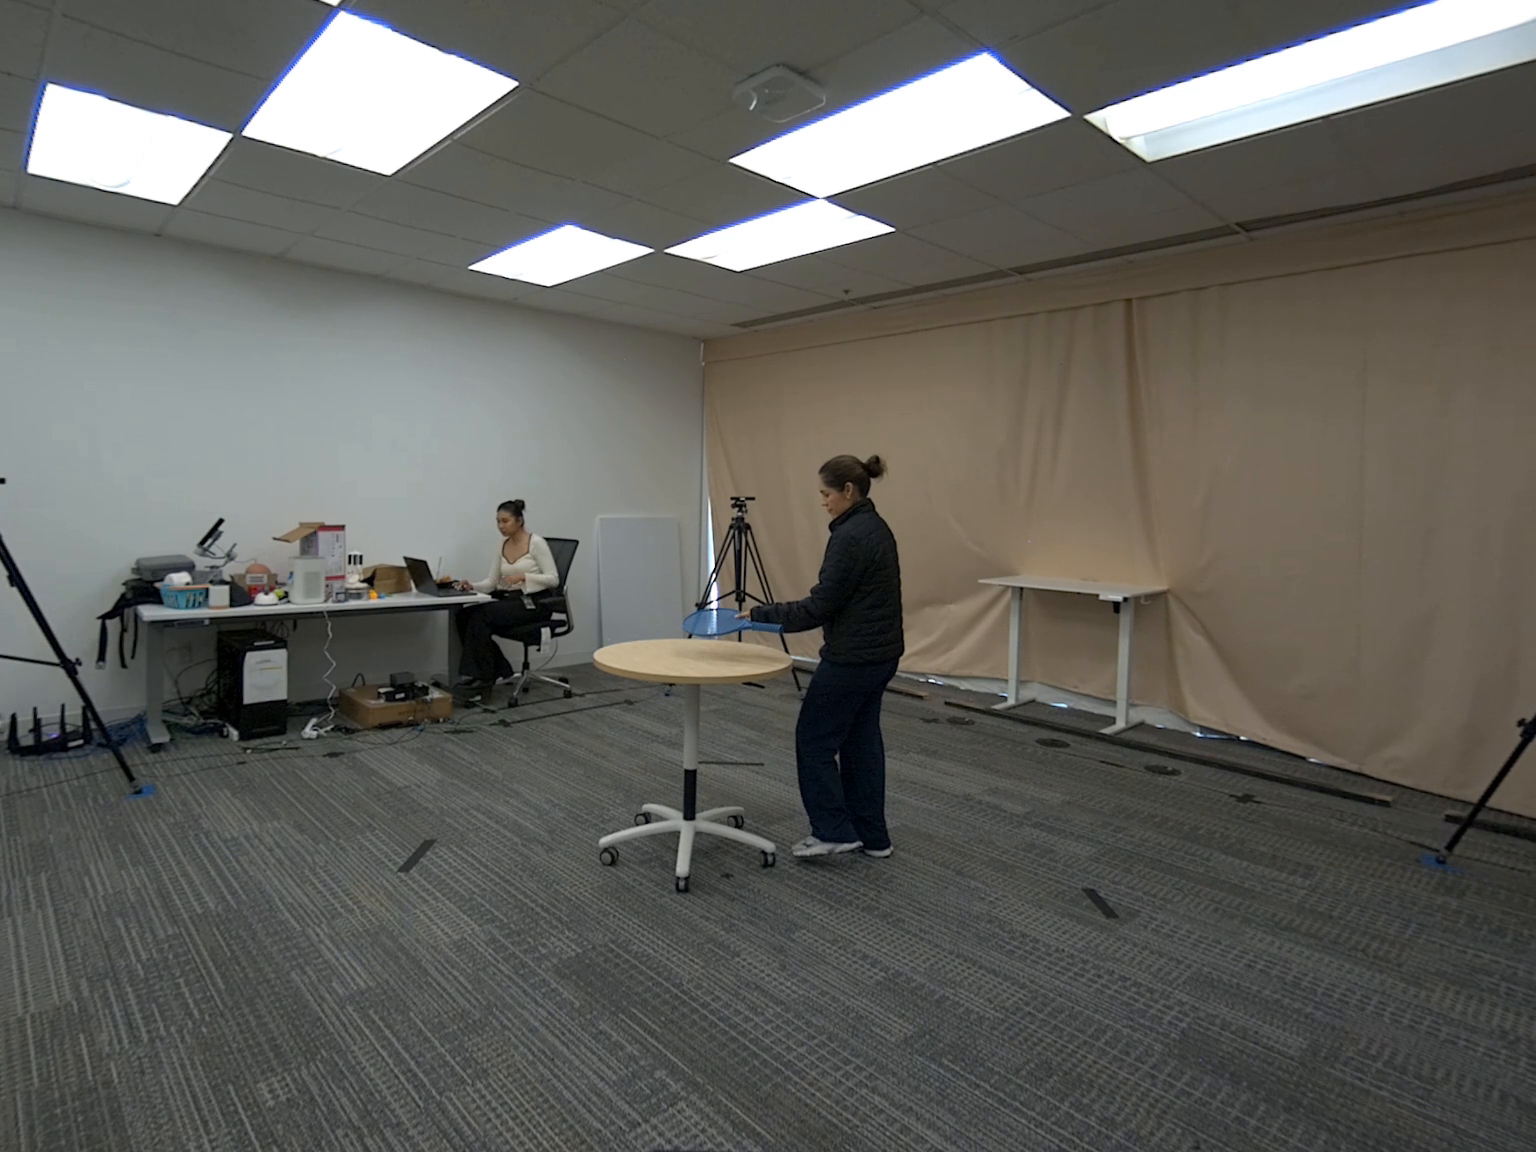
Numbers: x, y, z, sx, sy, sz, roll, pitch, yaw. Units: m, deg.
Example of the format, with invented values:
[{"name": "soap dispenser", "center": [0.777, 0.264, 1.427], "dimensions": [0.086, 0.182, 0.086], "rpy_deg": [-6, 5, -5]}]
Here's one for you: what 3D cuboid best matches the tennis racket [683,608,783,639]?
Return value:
[{"name": "tennis racket", "center": [-0.152, 0.200, 3.181], "dimensions": [0.443, 0.031, 0.212], "rpy_deg": [4, 28, 34]}]
